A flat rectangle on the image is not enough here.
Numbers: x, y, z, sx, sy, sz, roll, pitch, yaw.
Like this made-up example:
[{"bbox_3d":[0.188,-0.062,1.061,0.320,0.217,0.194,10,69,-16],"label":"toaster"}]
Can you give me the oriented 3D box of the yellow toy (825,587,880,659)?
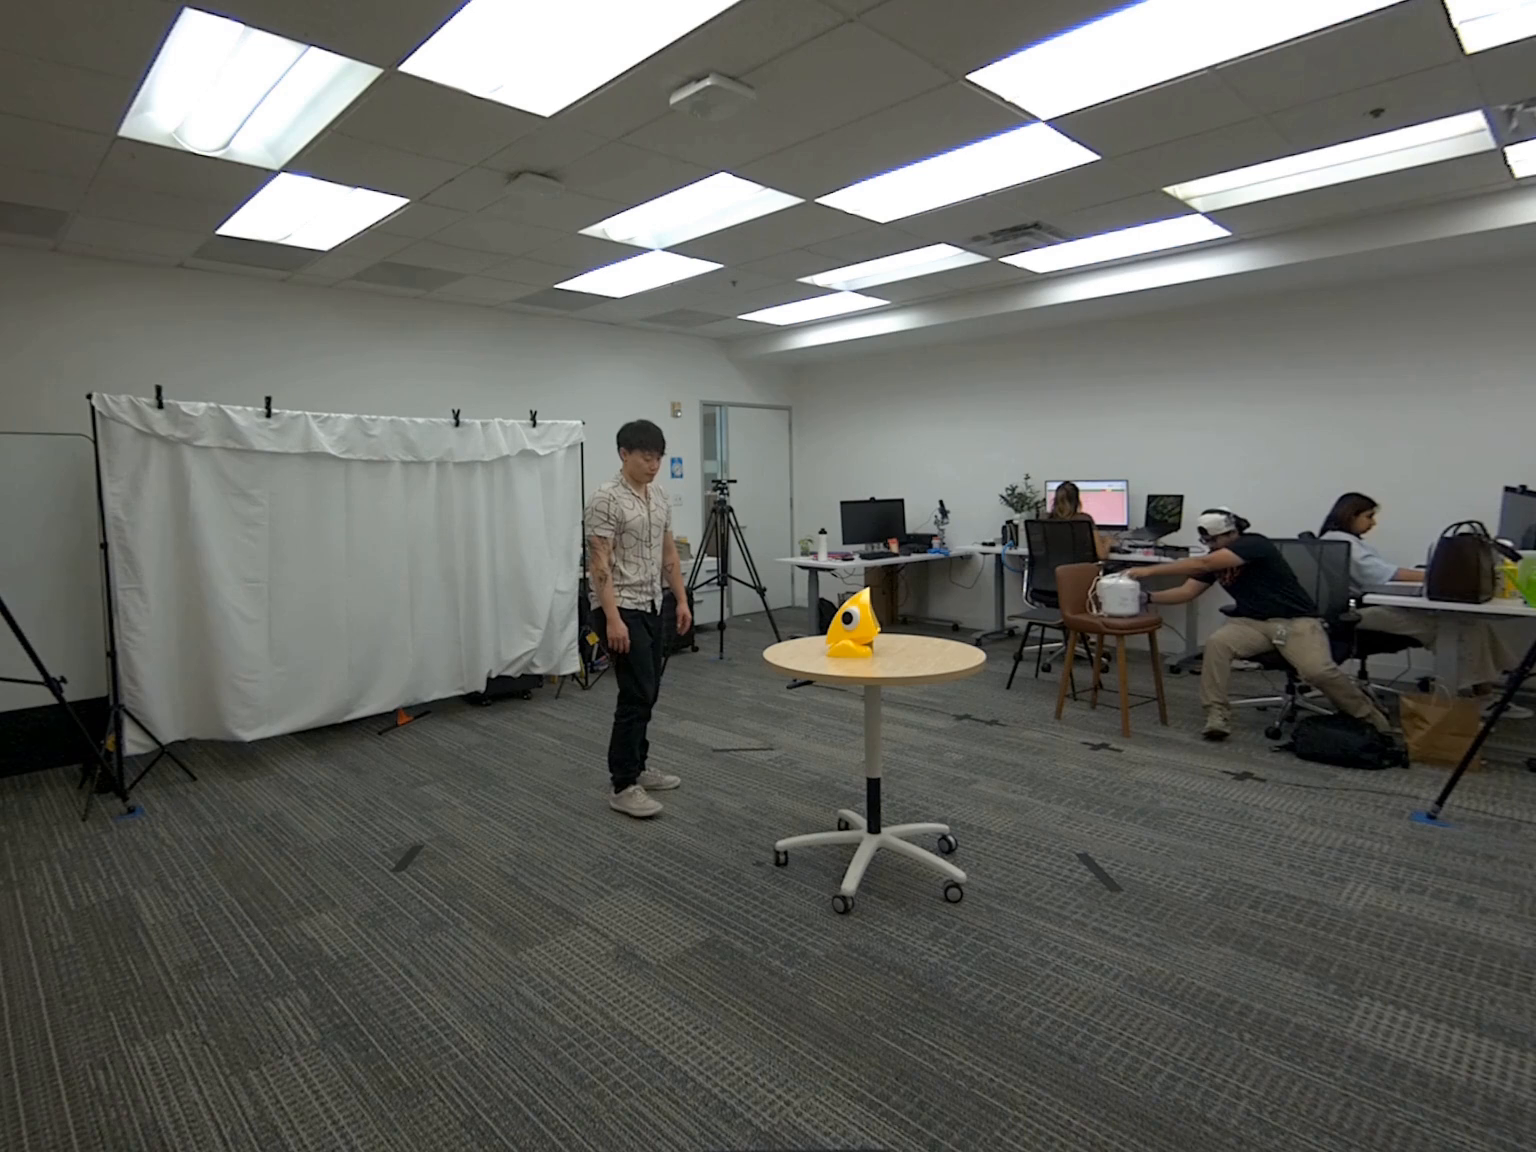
[{"bbox_3d":[0.302,0.156,3.010,0.195,0.230,0.203,-1,4,10],"label":"yellow toy"}]
